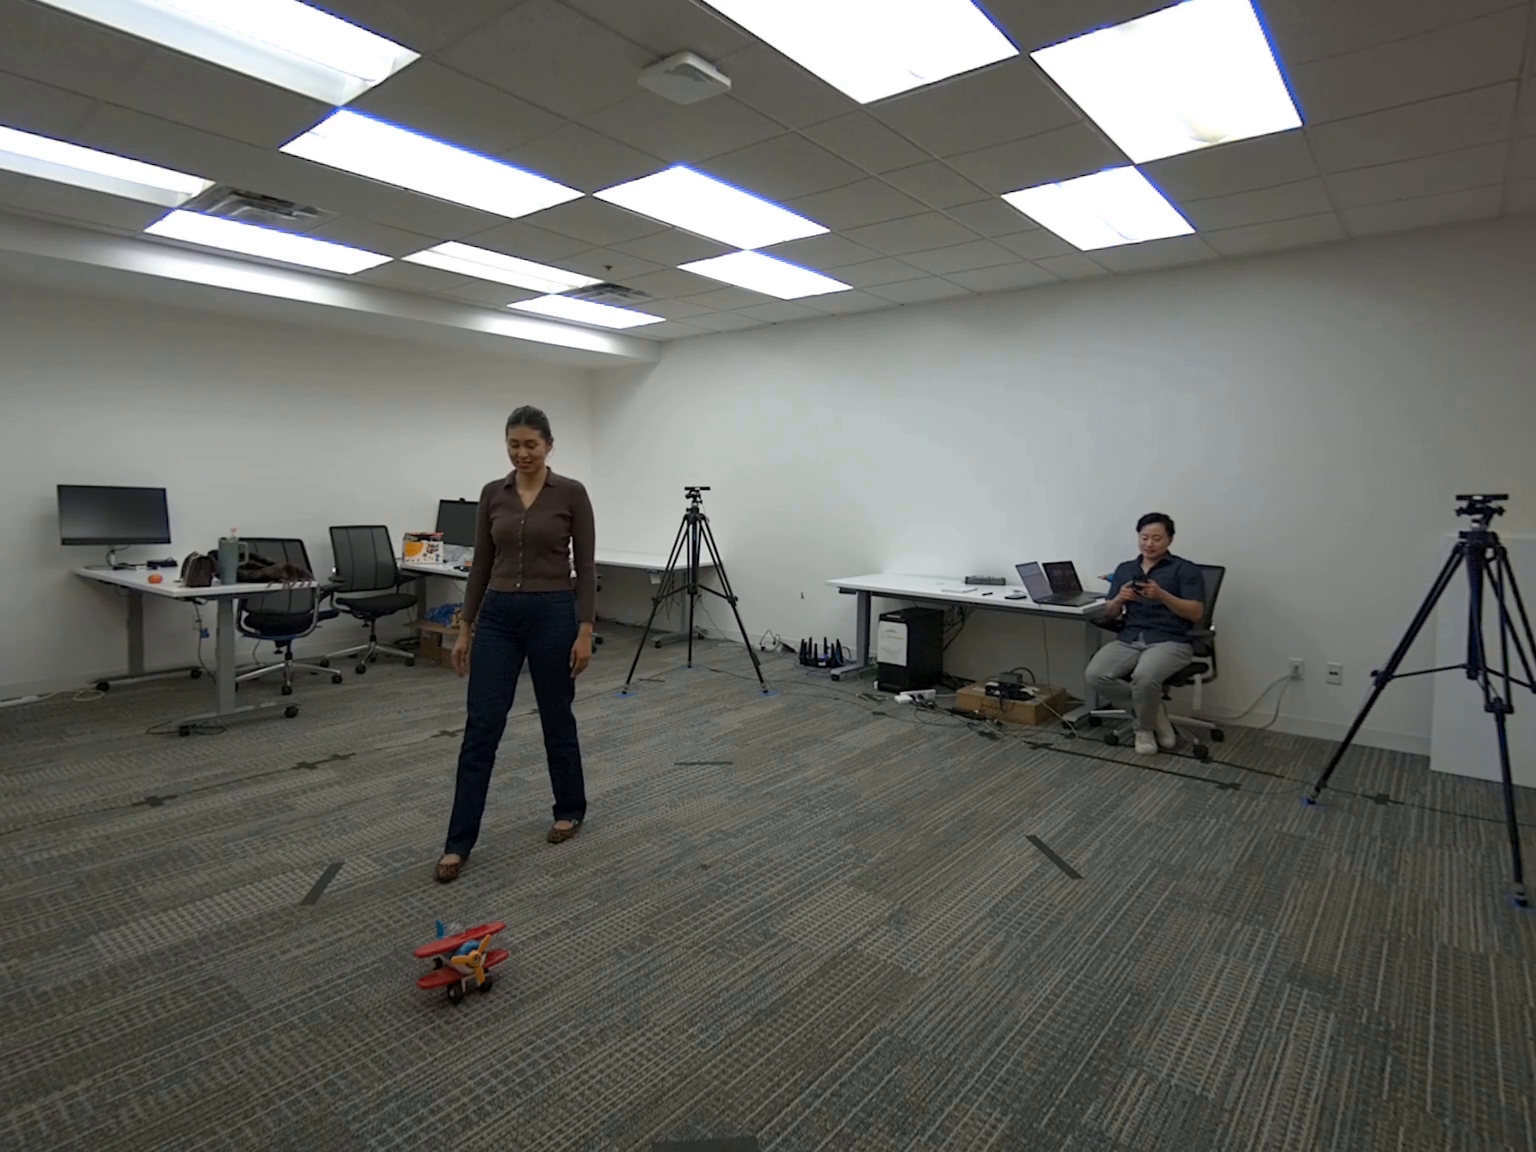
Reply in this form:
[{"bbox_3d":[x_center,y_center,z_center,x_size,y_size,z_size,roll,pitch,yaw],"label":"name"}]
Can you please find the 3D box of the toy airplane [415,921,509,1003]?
[{"bbox_3d":[-0.888,1.061,2.354,0.265,0.156,0.247,3,6,20],"label":"toy airplane"}]
